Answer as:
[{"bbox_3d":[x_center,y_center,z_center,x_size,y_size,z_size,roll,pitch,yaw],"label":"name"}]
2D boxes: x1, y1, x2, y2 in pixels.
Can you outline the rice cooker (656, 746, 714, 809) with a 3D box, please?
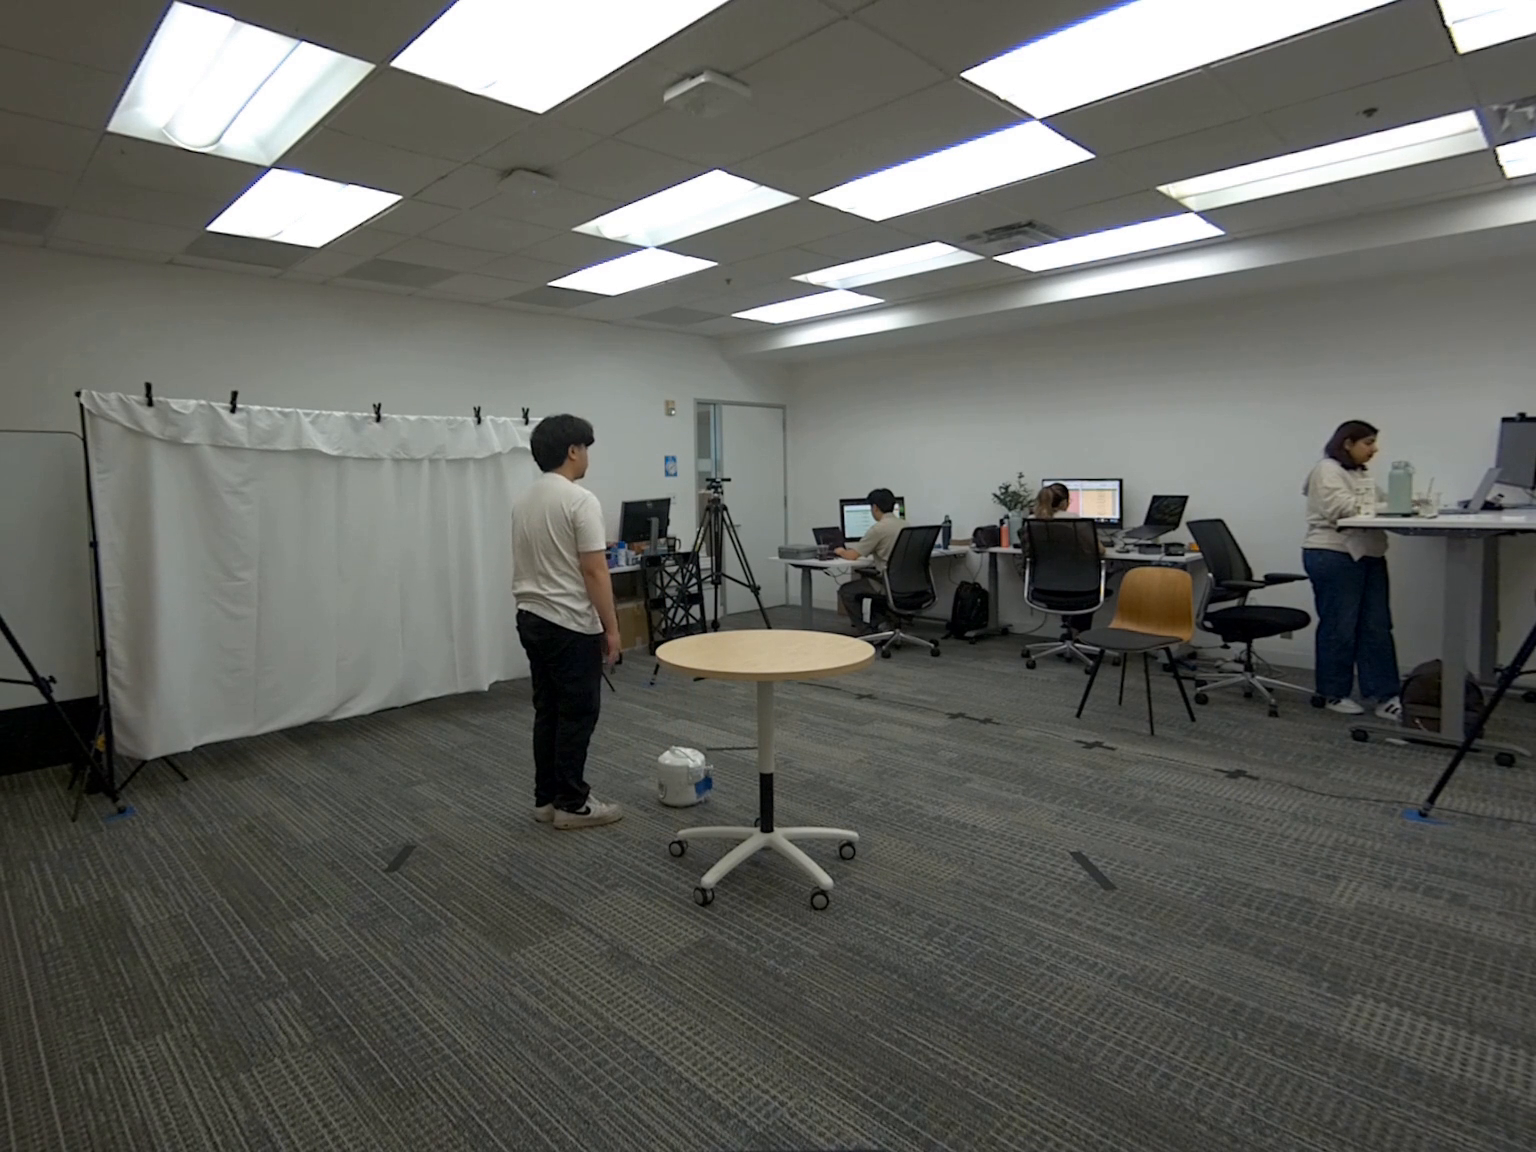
[{"bbox_3d":[-0.378,0.860,3.717,0.212,0.232,0.227,-4,6,-40],"label":"rice cooker"}]
